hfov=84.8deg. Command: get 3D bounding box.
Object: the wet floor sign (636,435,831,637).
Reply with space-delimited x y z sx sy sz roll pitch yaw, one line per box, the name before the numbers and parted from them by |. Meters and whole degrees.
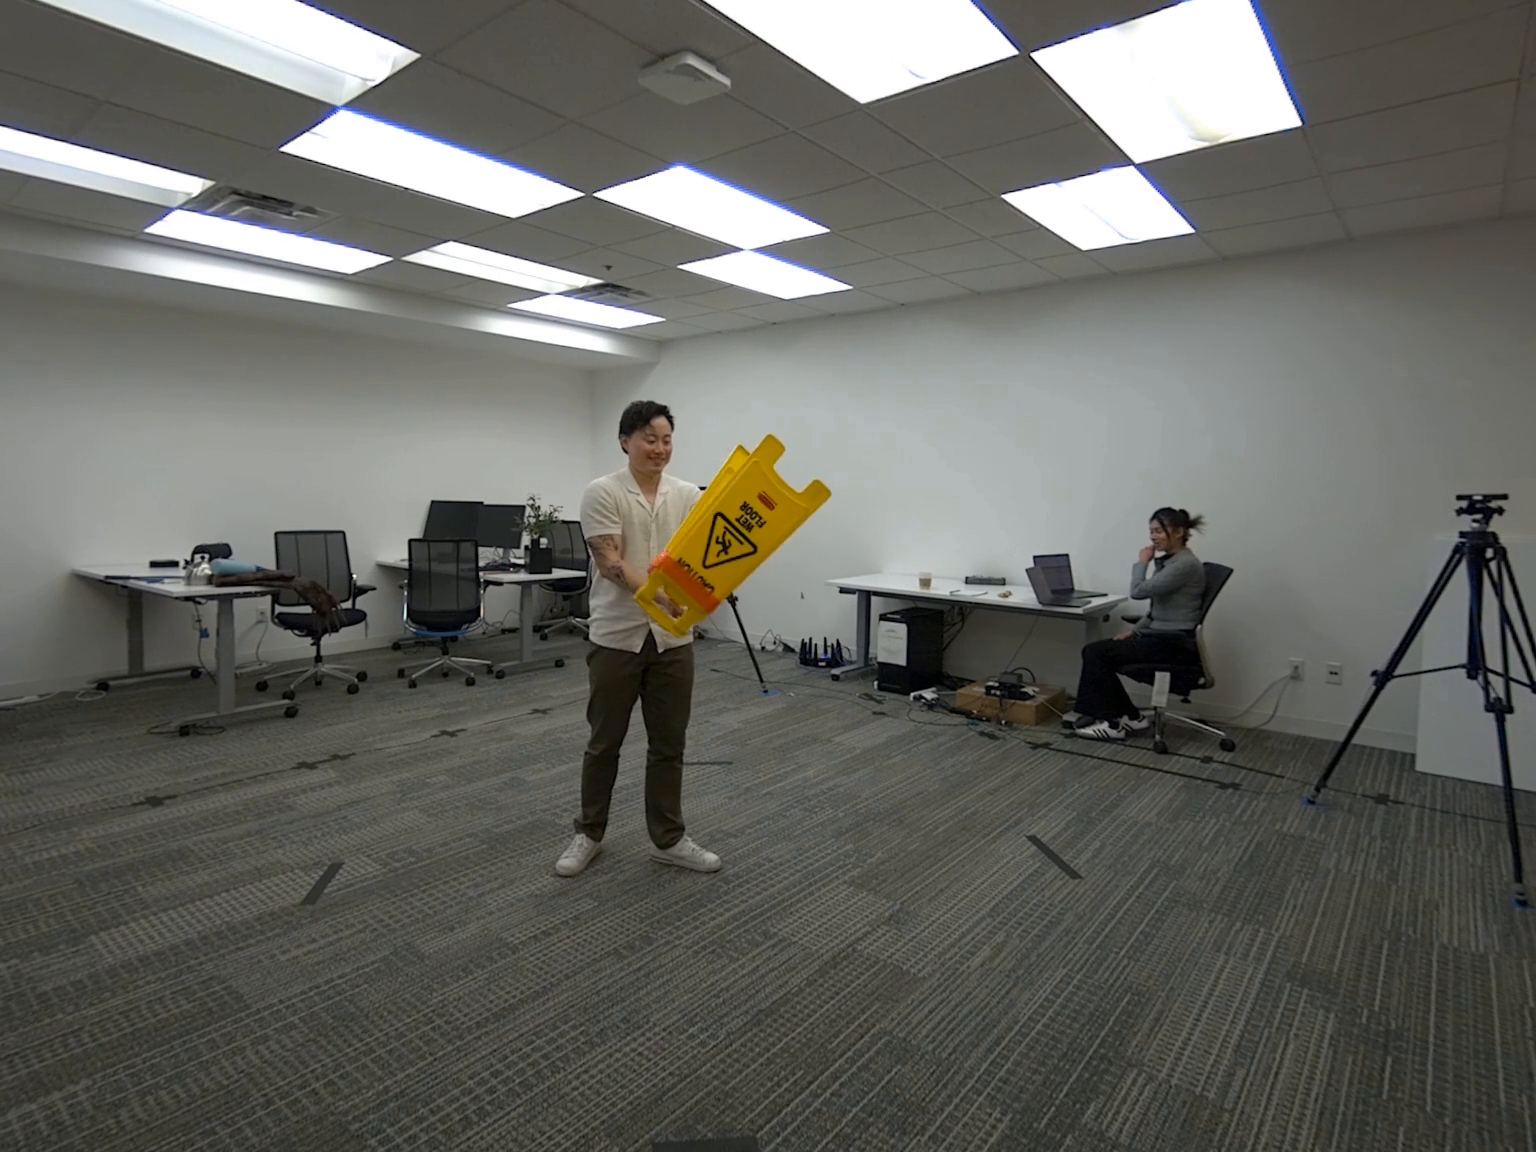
wet floor sign | -0.158 -0.106 2.695 0.277 0.646 0.295 42 -12 -13
